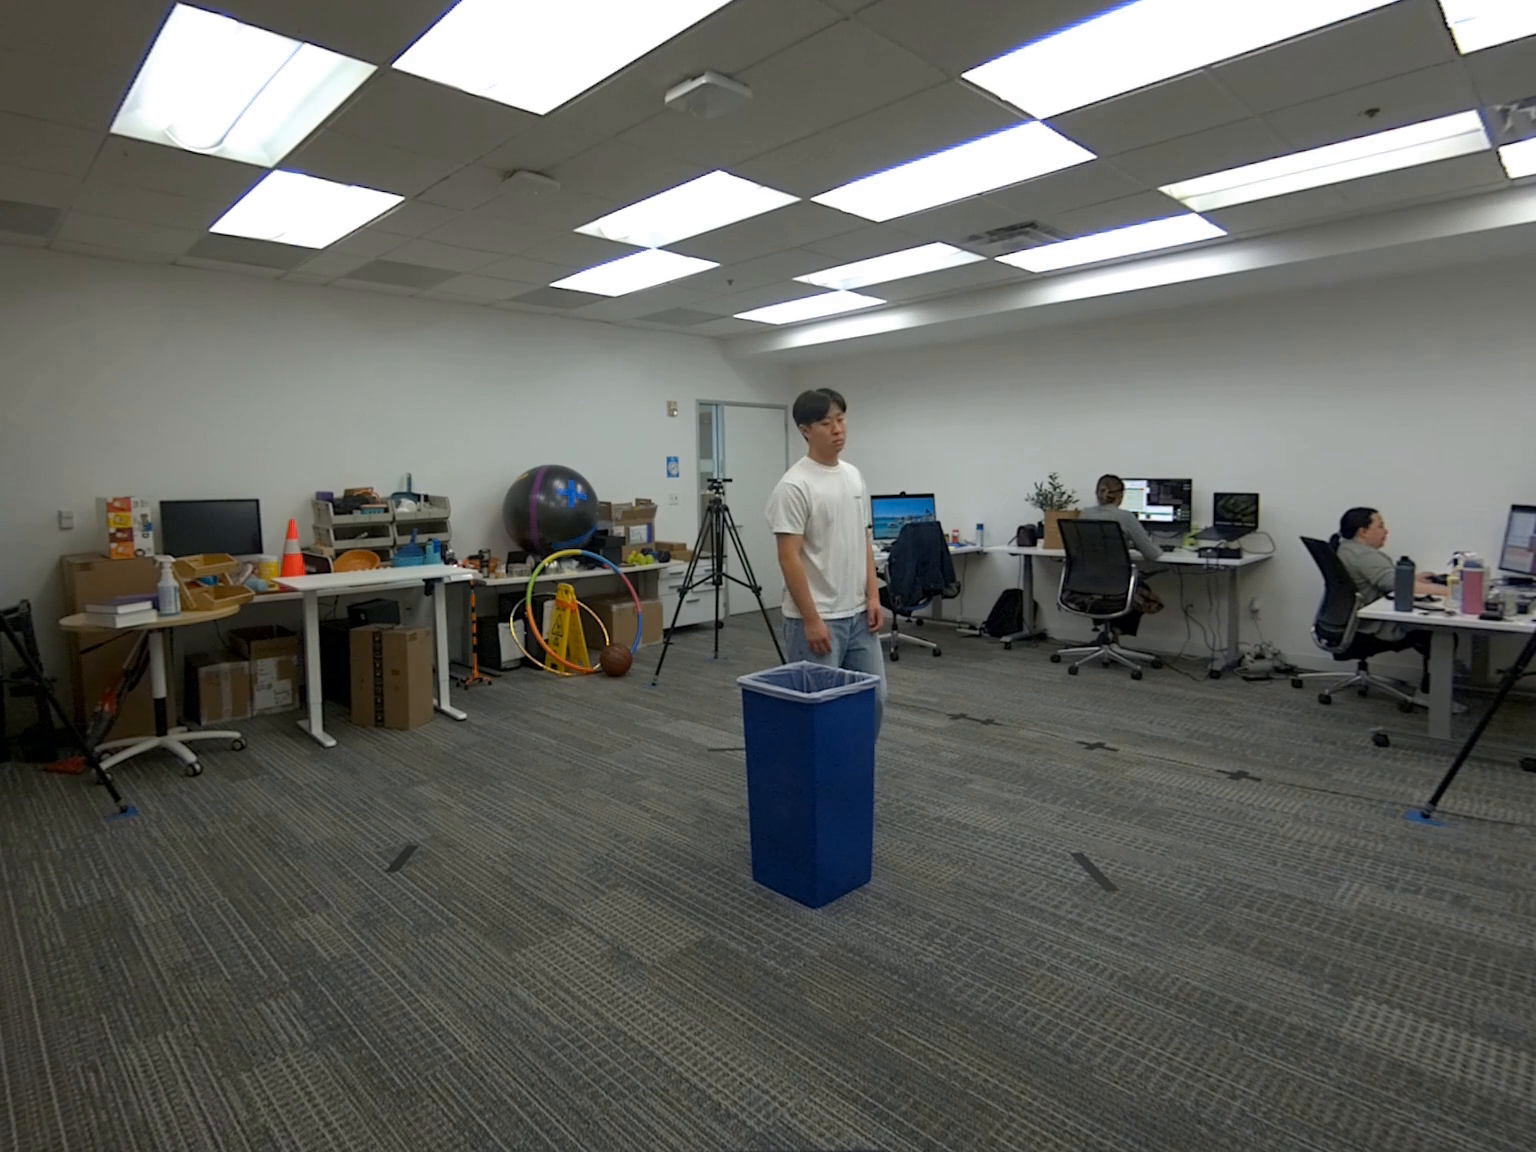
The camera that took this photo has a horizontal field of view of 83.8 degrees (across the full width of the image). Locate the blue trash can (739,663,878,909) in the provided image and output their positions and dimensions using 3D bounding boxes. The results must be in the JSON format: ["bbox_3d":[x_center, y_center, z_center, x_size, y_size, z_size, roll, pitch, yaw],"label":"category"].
[{"bbox_3d":[0.145,0.701,2.941,0.364,0.711,0.389,-4,5,-44],"label":"blue trash can"}]
